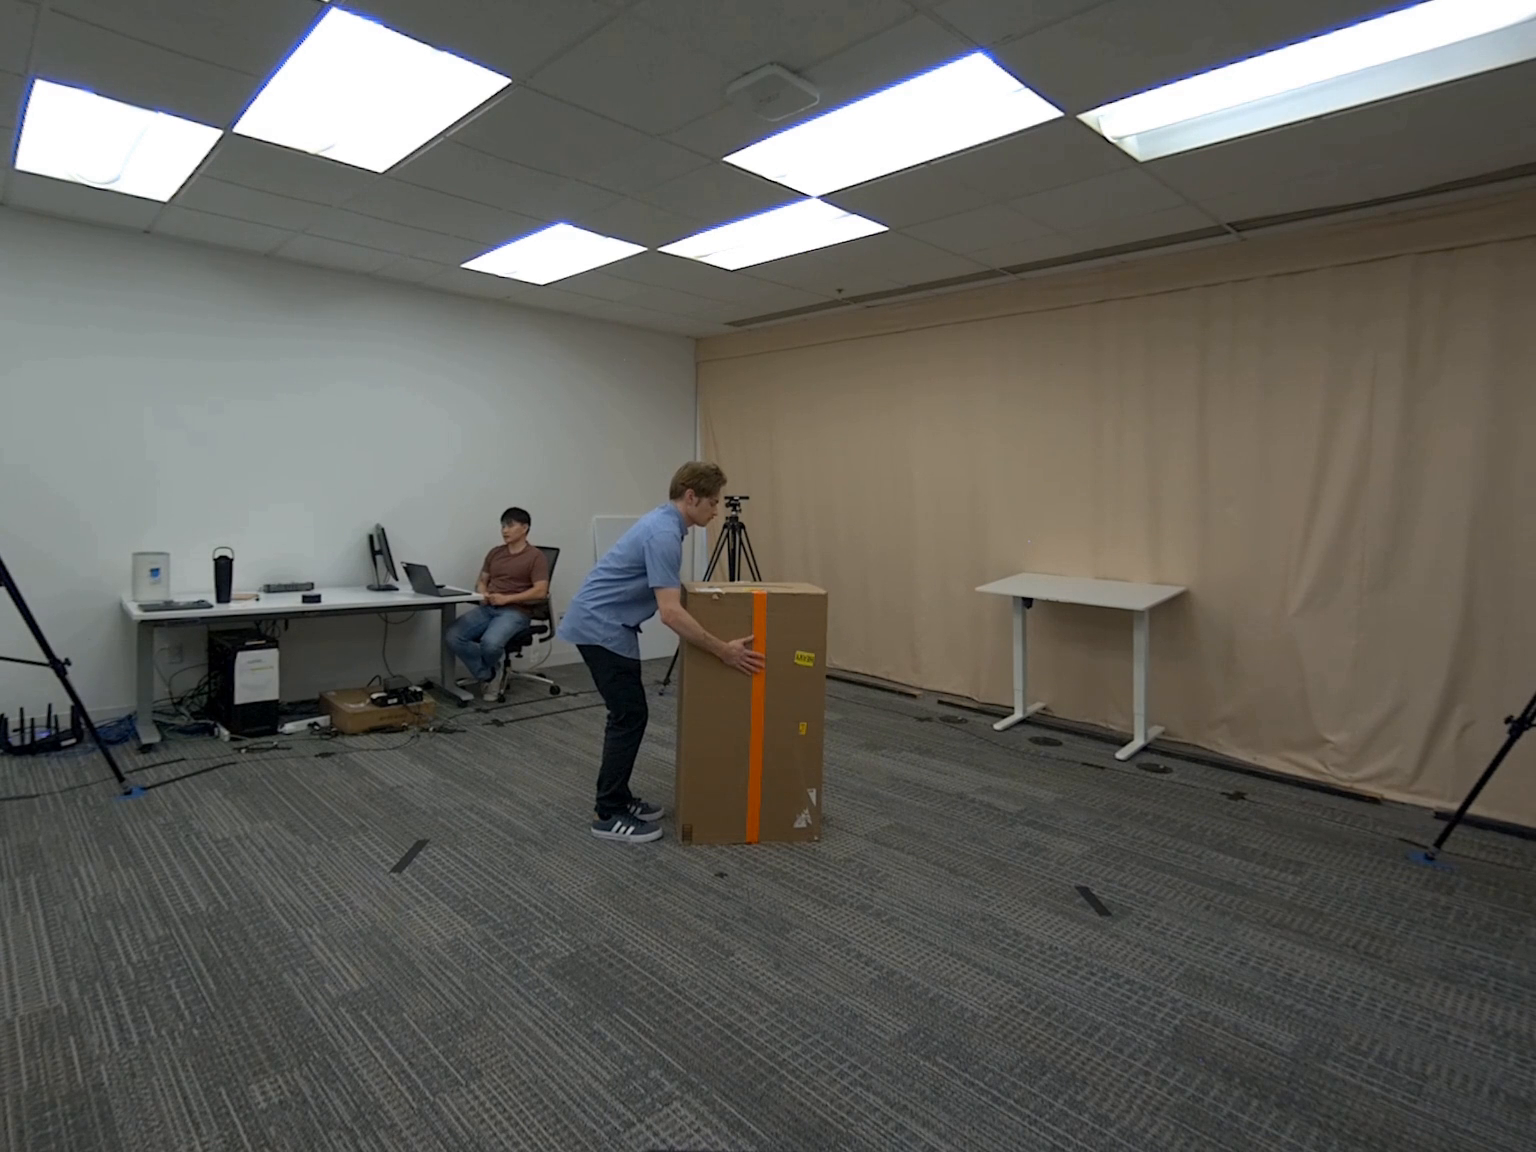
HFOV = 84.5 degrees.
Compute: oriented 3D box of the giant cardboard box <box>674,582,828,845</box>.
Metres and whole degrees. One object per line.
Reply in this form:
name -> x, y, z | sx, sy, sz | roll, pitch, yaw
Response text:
giant cardboard box -> -0.087, 0.566, 3.579 | 0.580, 1.025, 0.450 | 4, 3, -8
